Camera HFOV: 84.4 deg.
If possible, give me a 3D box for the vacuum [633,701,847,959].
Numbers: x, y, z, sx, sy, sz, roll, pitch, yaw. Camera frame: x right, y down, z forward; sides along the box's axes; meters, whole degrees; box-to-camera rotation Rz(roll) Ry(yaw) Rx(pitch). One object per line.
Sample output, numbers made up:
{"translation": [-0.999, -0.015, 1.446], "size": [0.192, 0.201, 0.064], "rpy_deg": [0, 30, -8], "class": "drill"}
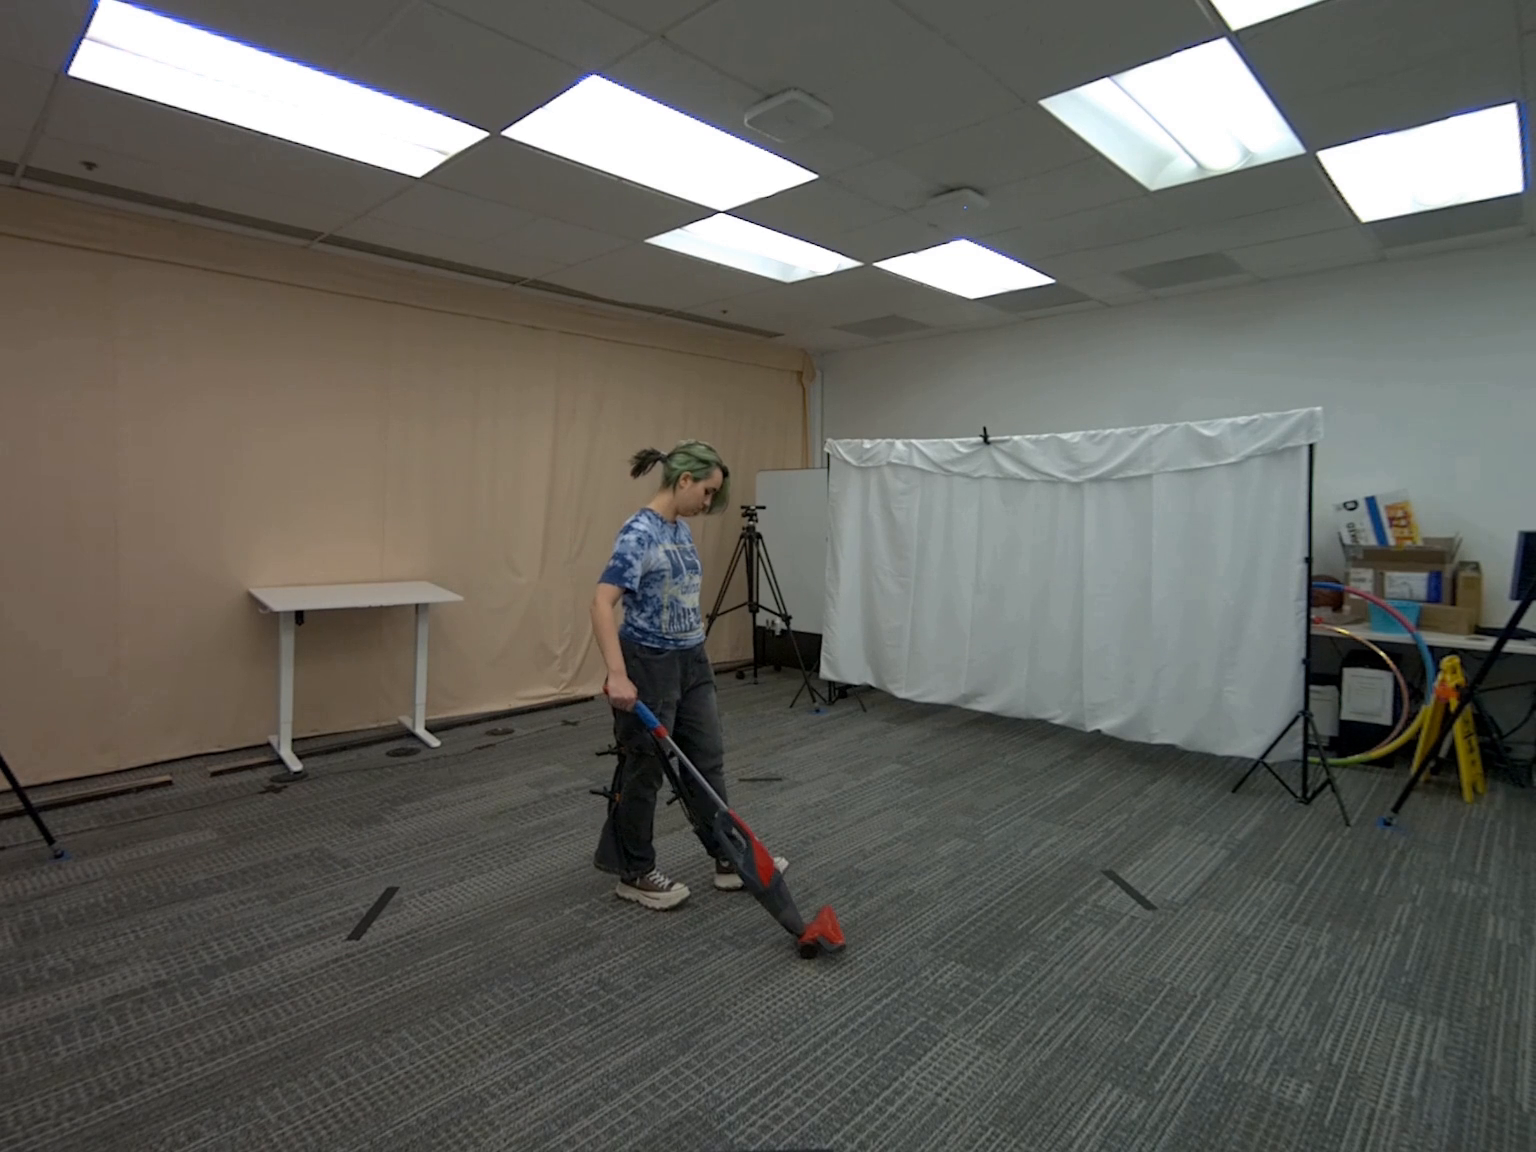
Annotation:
{"translation": [-0.160, 0.758, 2.617], "size": [0.144, 1.045, 0.253], "rpy_deg": [-42, 4, 2], "class": "vacuum"}
